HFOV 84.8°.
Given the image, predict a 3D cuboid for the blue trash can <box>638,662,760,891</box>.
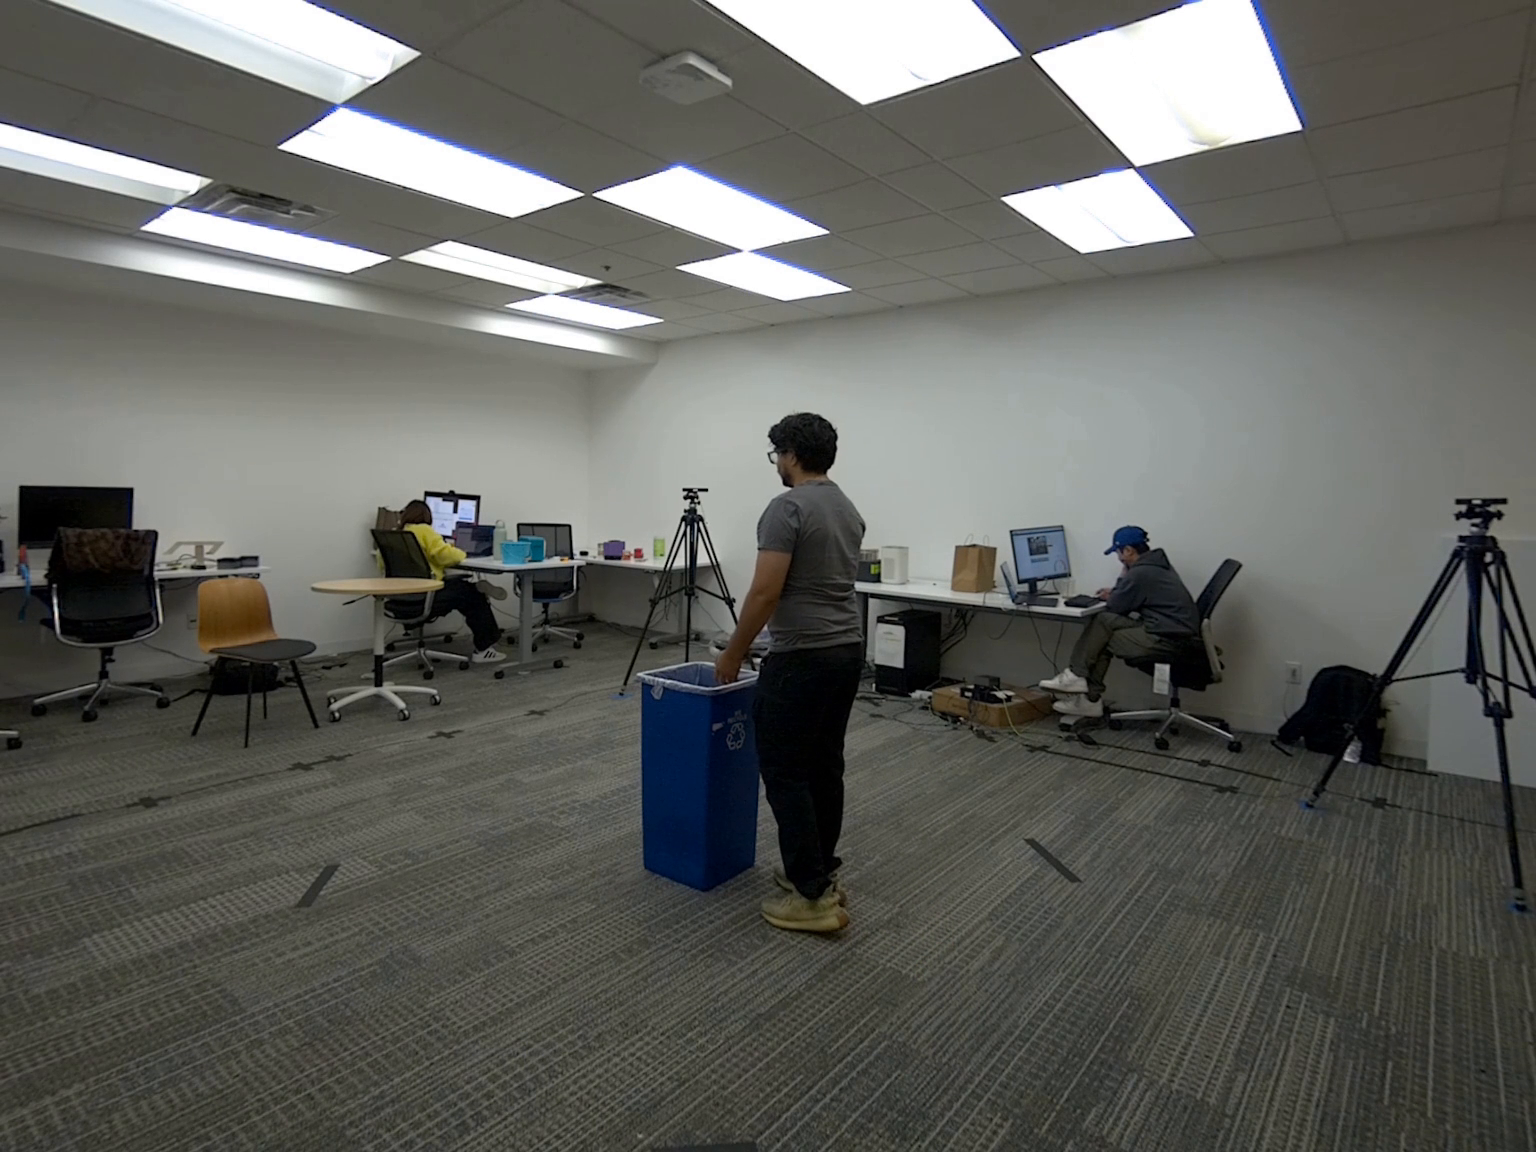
[{"bbox_3d":[-0.246,0.711,3.118,0.386,0.712,0.367,3,3,36],"label":"blue trash can"}]
